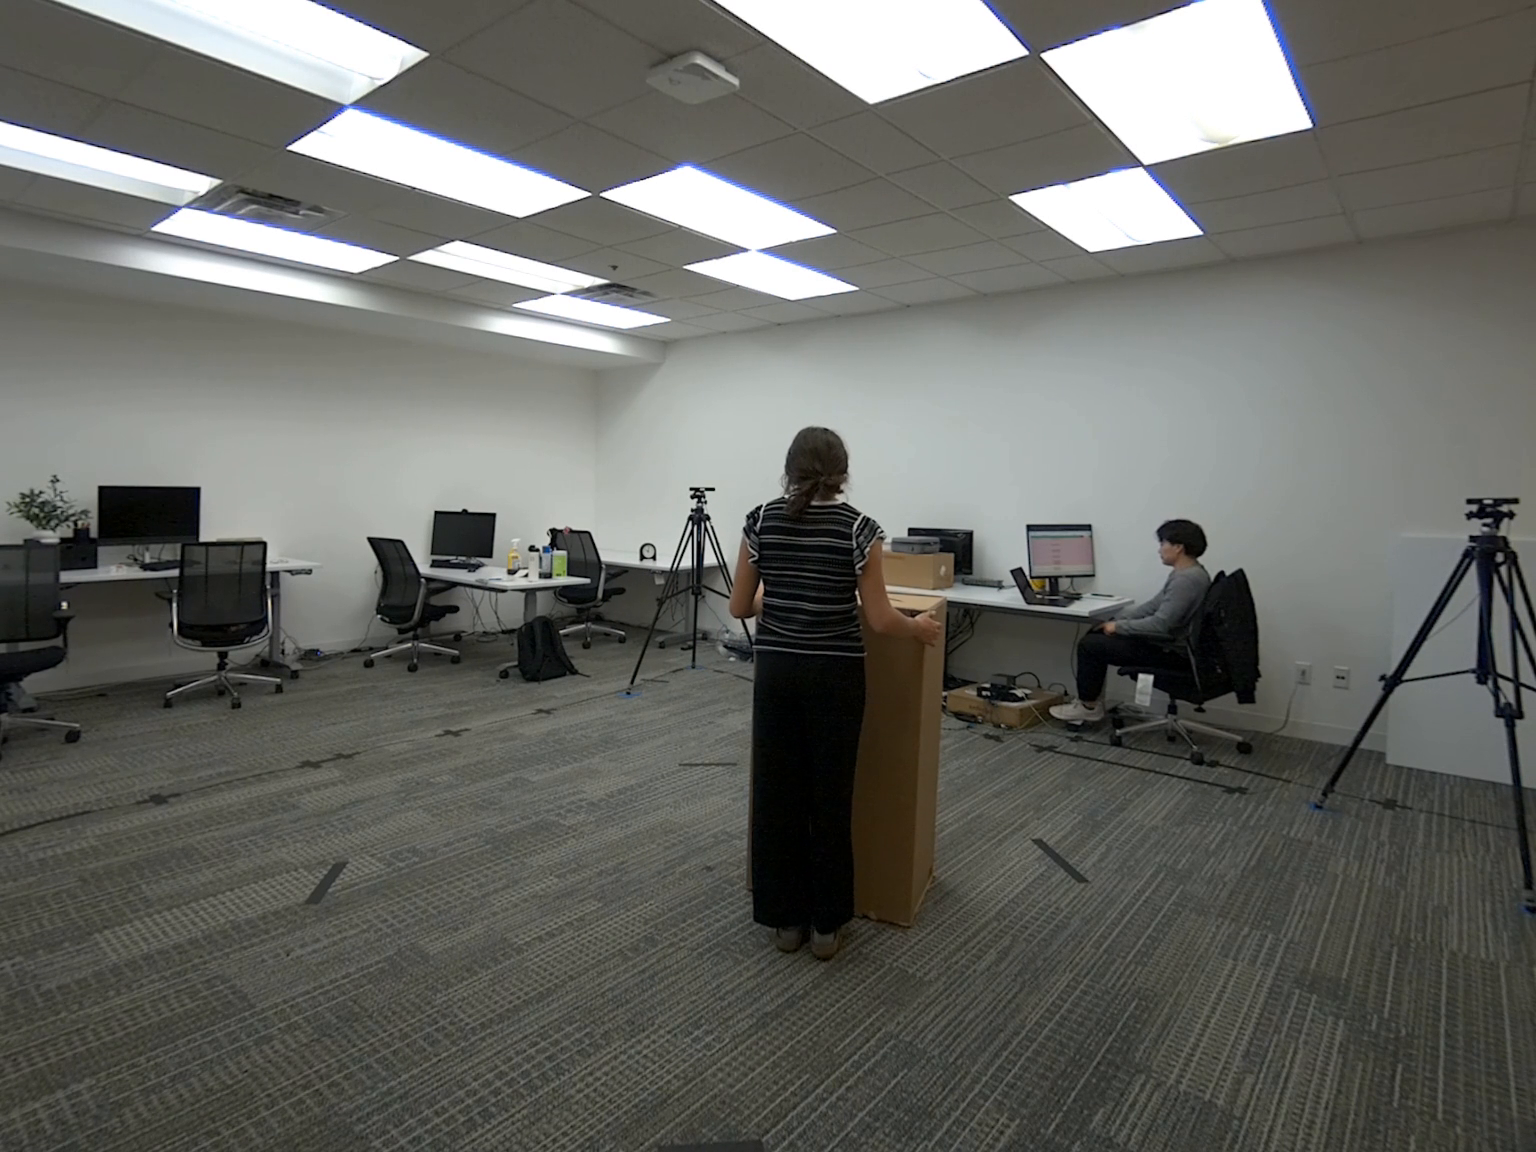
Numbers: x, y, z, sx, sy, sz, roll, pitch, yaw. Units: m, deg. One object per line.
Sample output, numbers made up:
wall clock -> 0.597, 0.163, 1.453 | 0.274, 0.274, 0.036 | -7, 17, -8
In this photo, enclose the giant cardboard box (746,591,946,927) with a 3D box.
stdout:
giant cardboard box -> 0.281, 0.582, 2.998 | 0.592, 1.023, 0.417 | 4, 3, 23
